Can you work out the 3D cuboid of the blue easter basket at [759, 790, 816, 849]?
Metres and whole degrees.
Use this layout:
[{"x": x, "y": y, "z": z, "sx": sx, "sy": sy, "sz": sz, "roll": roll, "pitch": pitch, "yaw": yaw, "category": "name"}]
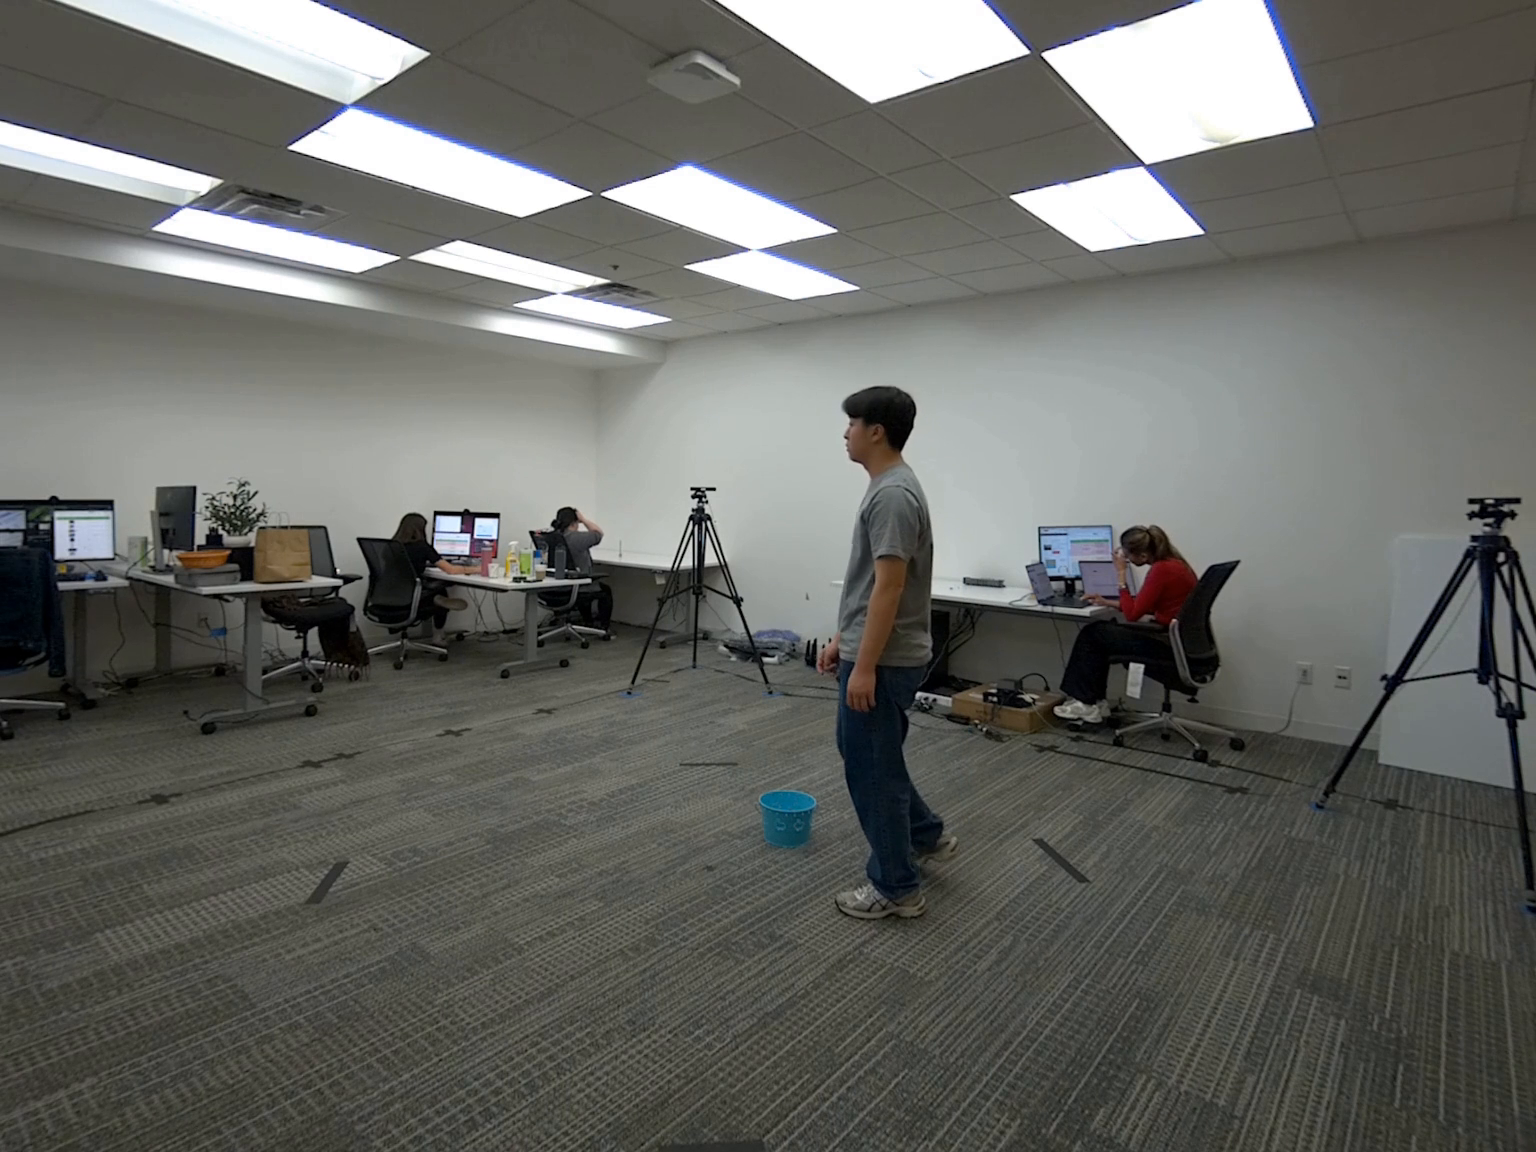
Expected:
[{"x": 0.070, "y": 0.965, "z": 3.398, "sx": 0.243, "sy": 0.155, "sz": 0.245, "roll": 1, "pitch": 5, "yaw": -2, "category": "blue easter basket"}]
